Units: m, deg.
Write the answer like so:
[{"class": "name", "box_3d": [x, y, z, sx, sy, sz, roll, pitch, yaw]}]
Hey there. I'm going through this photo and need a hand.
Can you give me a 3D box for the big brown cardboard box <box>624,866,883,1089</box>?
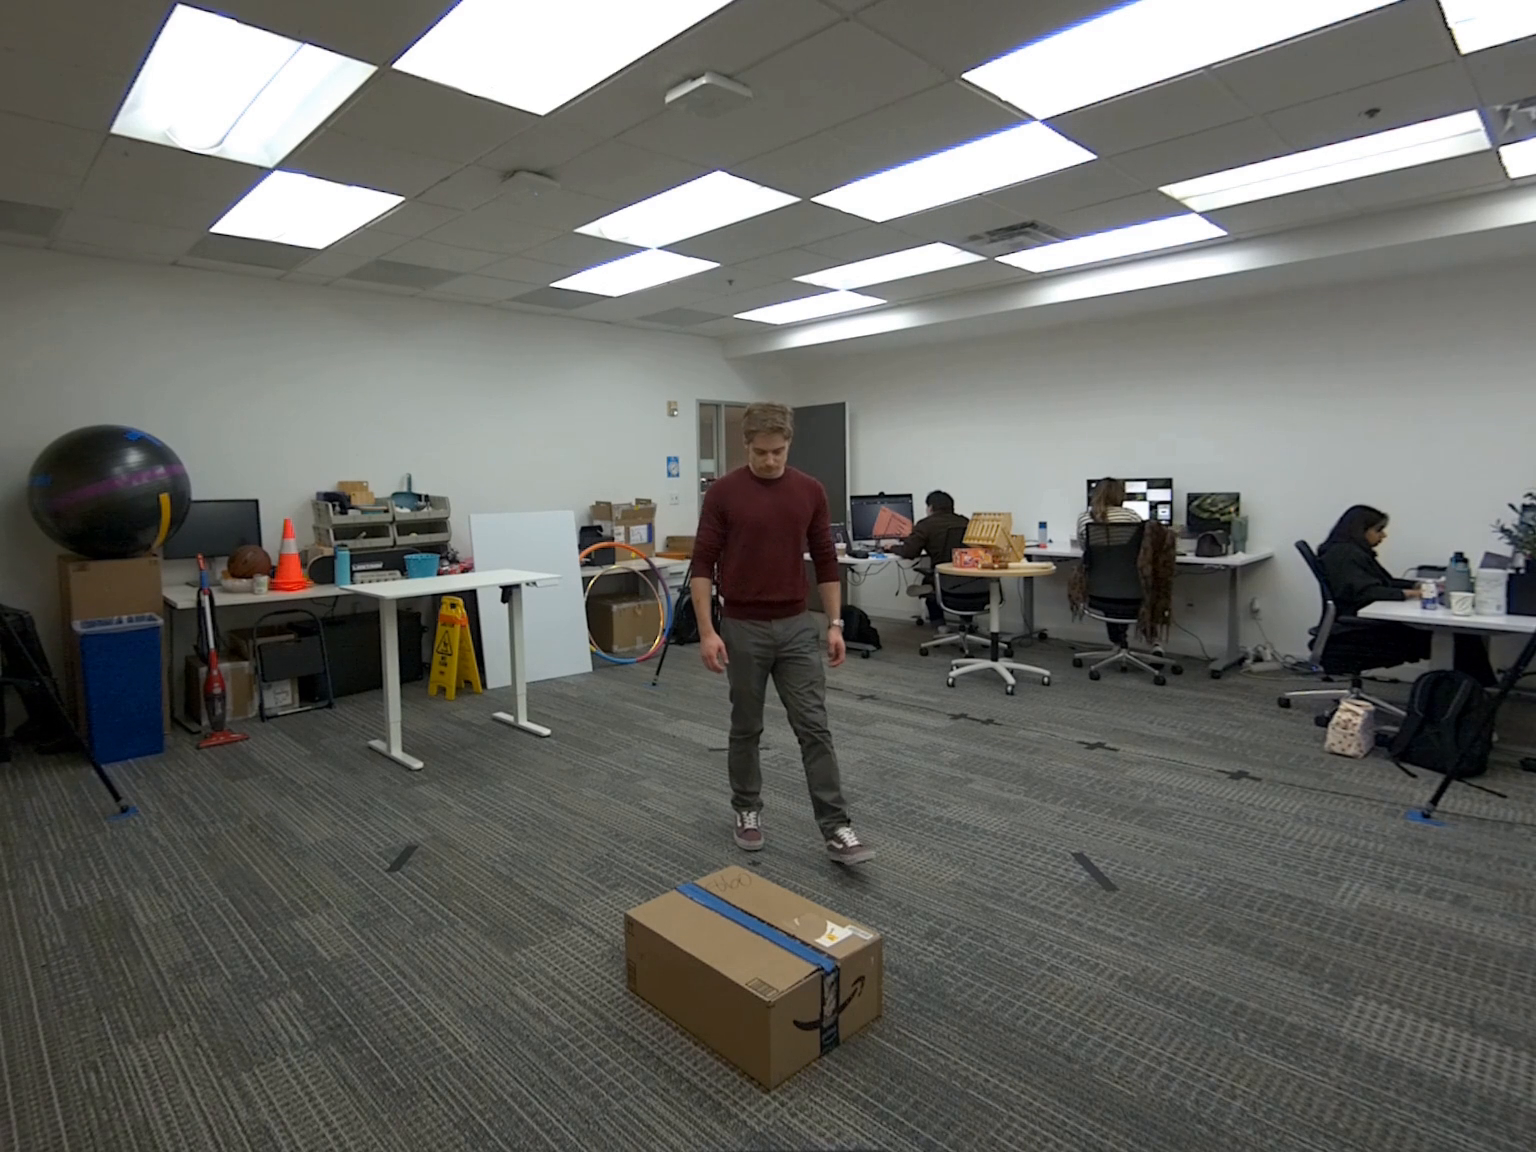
[{"class": "big brown cardboard box", "box_3d": [-0.049, 1.029, 2.283, 0.407, 0.232, 0.607, -7, 9, -42]}]
